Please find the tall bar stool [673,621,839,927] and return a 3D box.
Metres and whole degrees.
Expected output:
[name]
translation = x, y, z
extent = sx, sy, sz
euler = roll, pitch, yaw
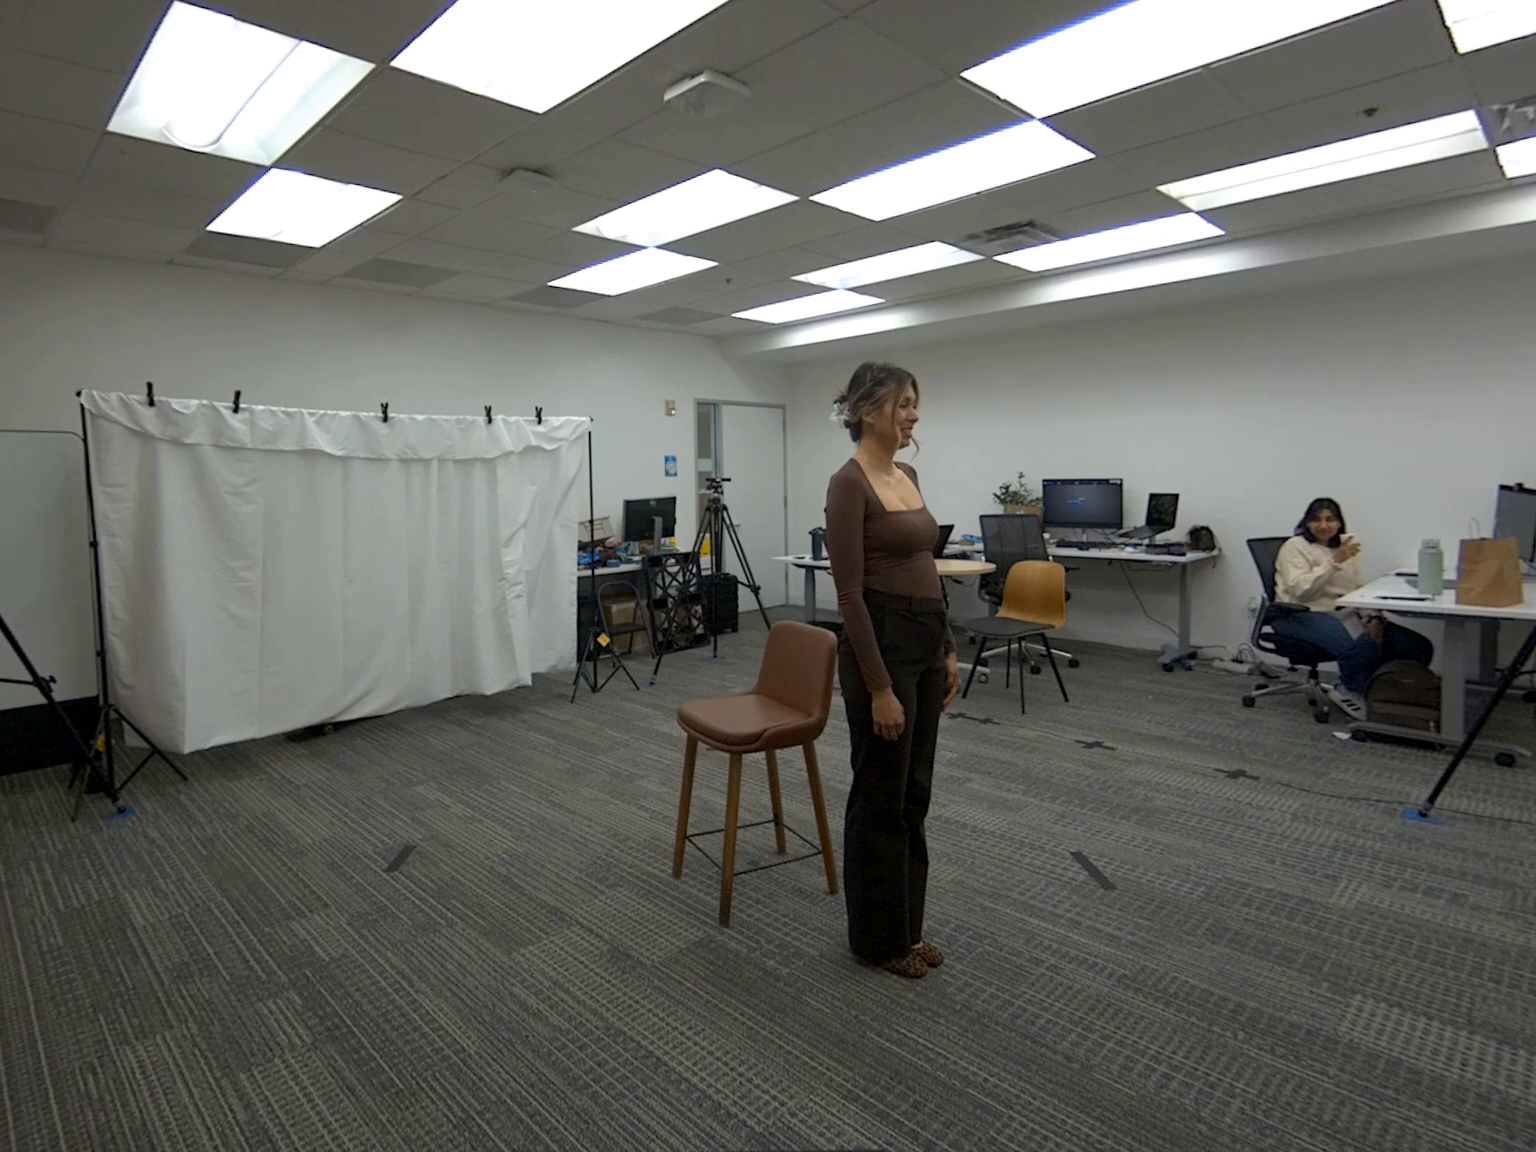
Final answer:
[tall bar stool]
translation = -0.044, 0.630, 2.914
extent = 0.457, 0.887, 0.469
euler = -1, 4, -28
